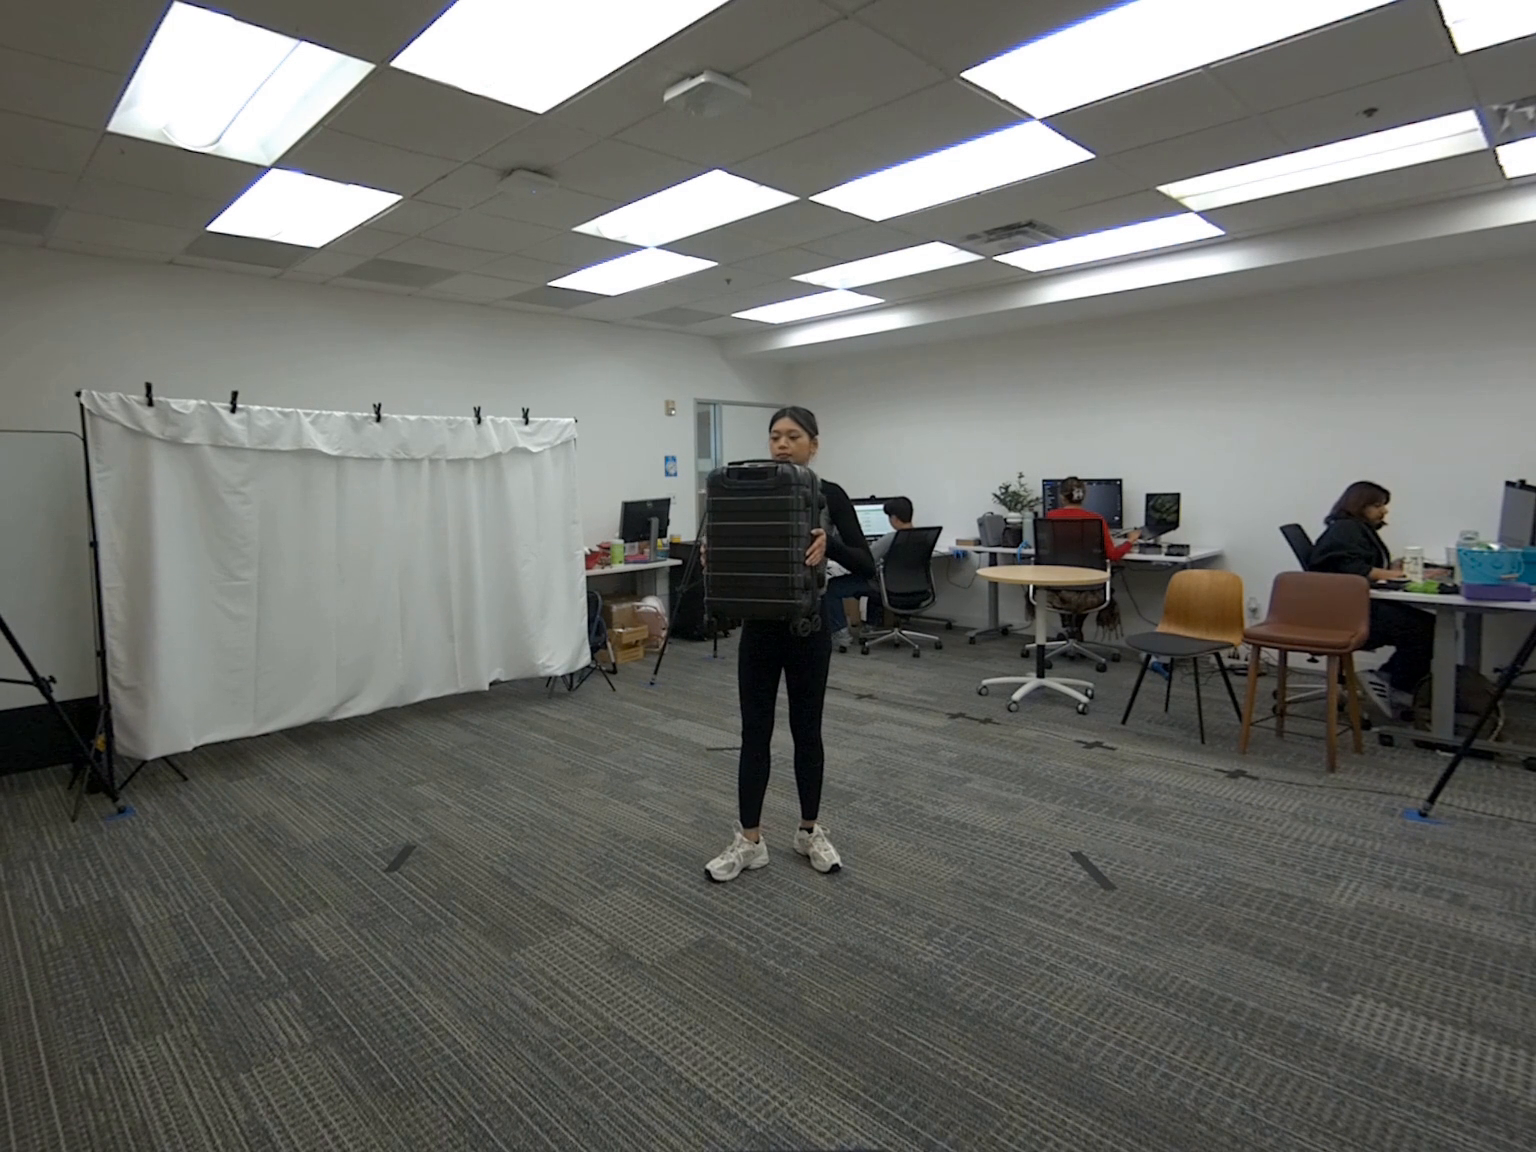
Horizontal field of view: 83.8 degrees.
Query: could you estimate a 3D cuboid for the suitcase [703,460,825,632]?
[{"bbox_3d":[-0.015,-0.099,2.793,0.383,0.550,0.243,-1,-1,23],"label":"suitcase"}]
